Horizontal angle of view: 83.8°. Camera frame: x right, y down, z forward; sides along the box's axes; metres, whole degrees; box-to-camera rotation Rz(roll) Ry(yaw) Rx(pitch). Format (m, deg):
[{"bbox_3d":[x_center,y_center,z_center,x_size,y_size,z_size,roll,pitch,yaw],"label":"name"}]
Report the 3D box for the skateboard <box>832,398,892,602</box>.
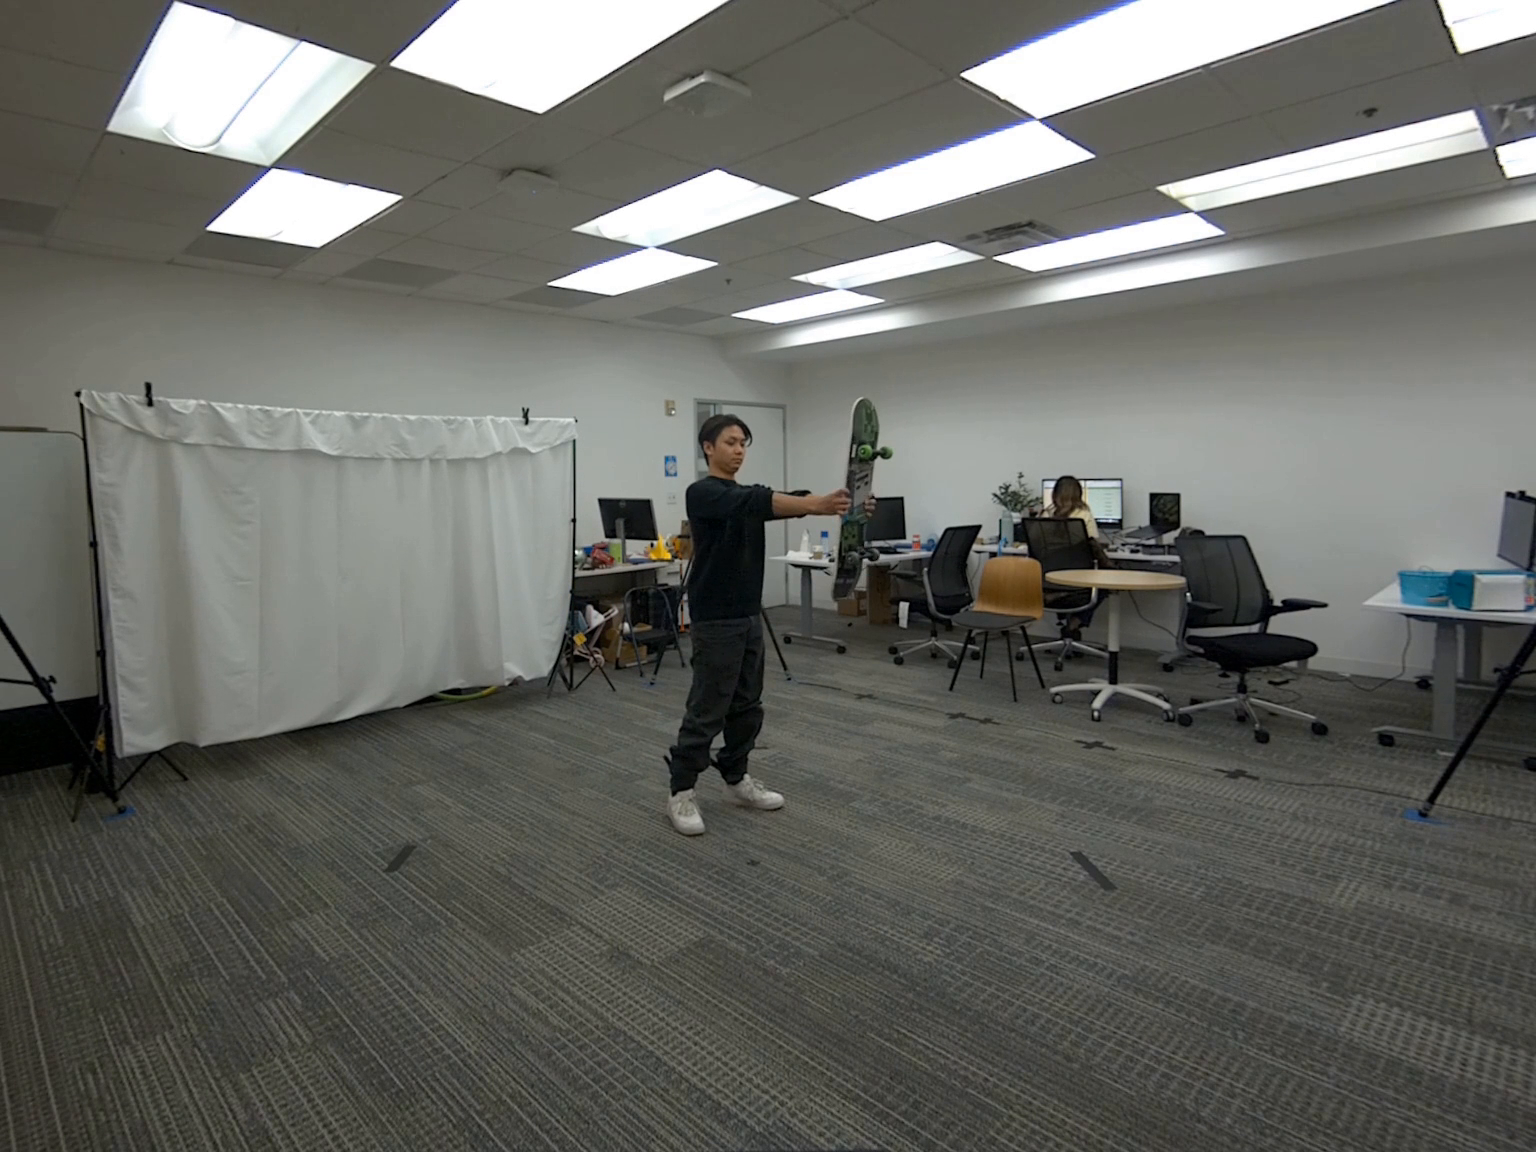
[{"bbox_3d":[0.357,-0.261,3.235,0.114,0.779,0.188,14,12,38],"label":"skateboard"}]
